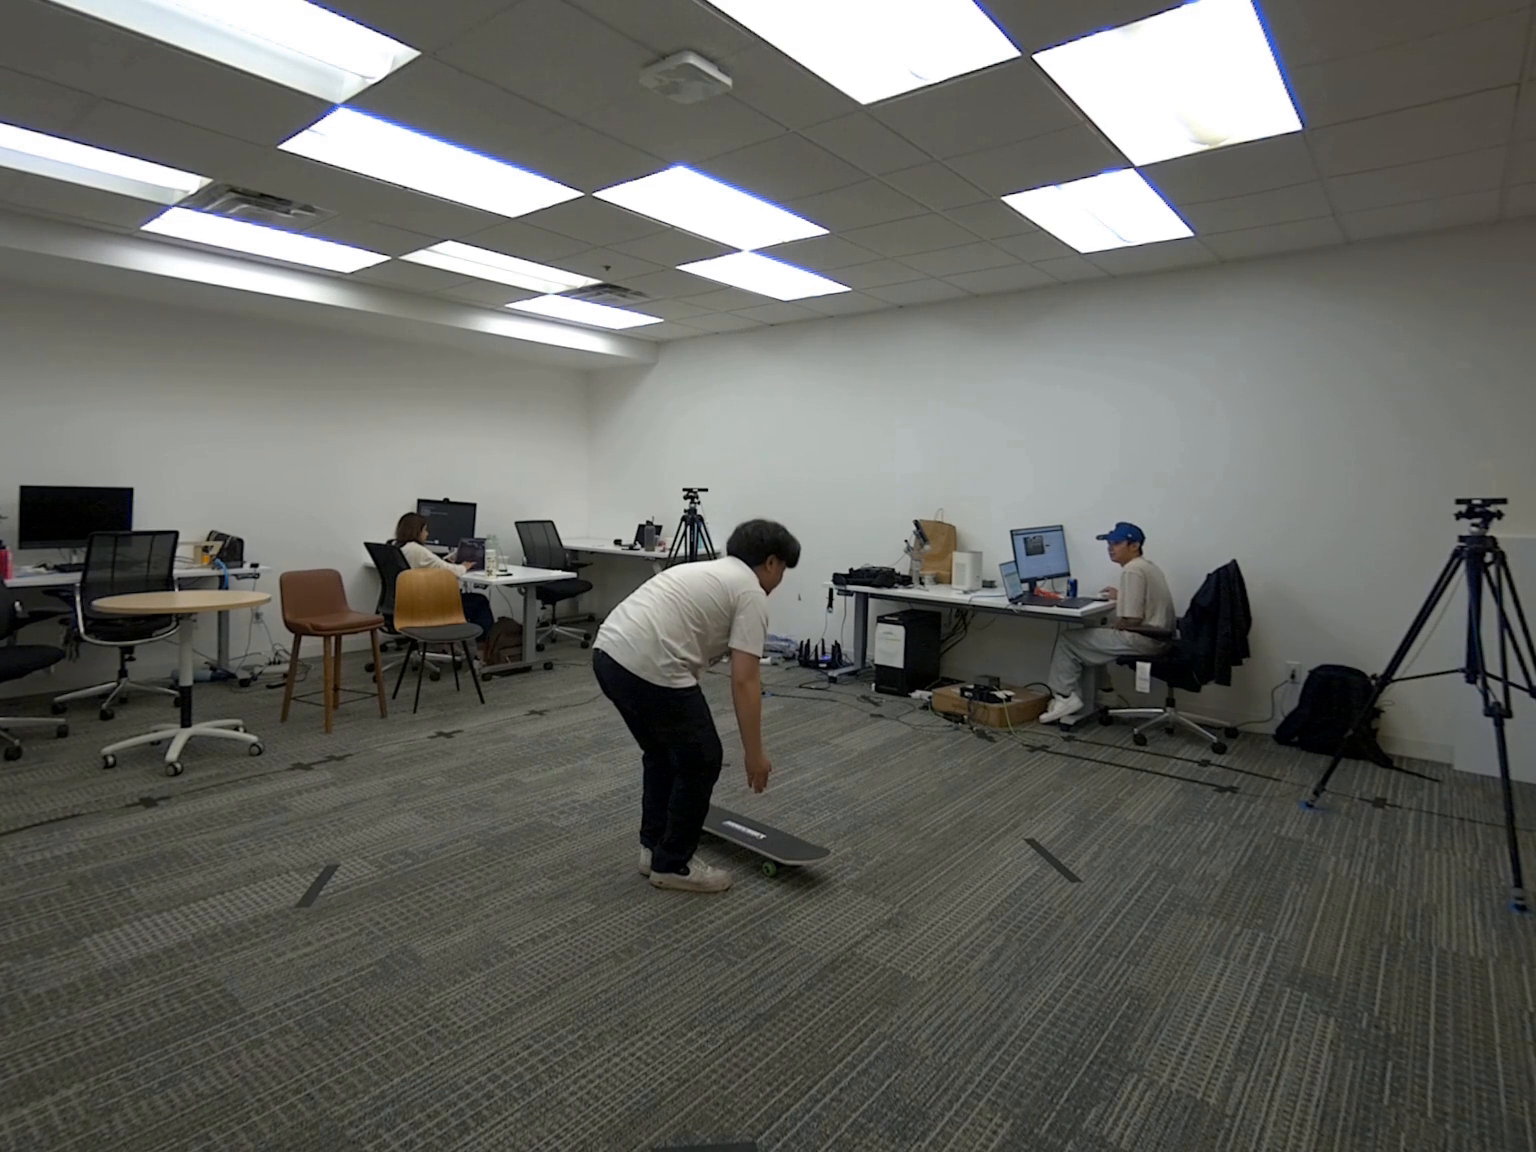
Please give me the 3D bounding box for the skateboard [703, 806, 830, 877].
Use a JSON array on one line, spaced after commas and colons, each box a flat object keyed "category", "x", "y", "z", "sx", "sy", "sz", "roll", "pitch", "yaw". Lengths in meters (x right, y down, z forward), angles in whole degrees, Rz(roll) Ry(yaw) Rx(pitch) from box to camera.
[{"category": "skateboard", "x": -0.105, "y": 0.995, "z": 3.262, "sx": 0.813, "sy": 0.110, "sz": 0.187, "roll": 7, "pitch": 7, "yaw": 42}]
